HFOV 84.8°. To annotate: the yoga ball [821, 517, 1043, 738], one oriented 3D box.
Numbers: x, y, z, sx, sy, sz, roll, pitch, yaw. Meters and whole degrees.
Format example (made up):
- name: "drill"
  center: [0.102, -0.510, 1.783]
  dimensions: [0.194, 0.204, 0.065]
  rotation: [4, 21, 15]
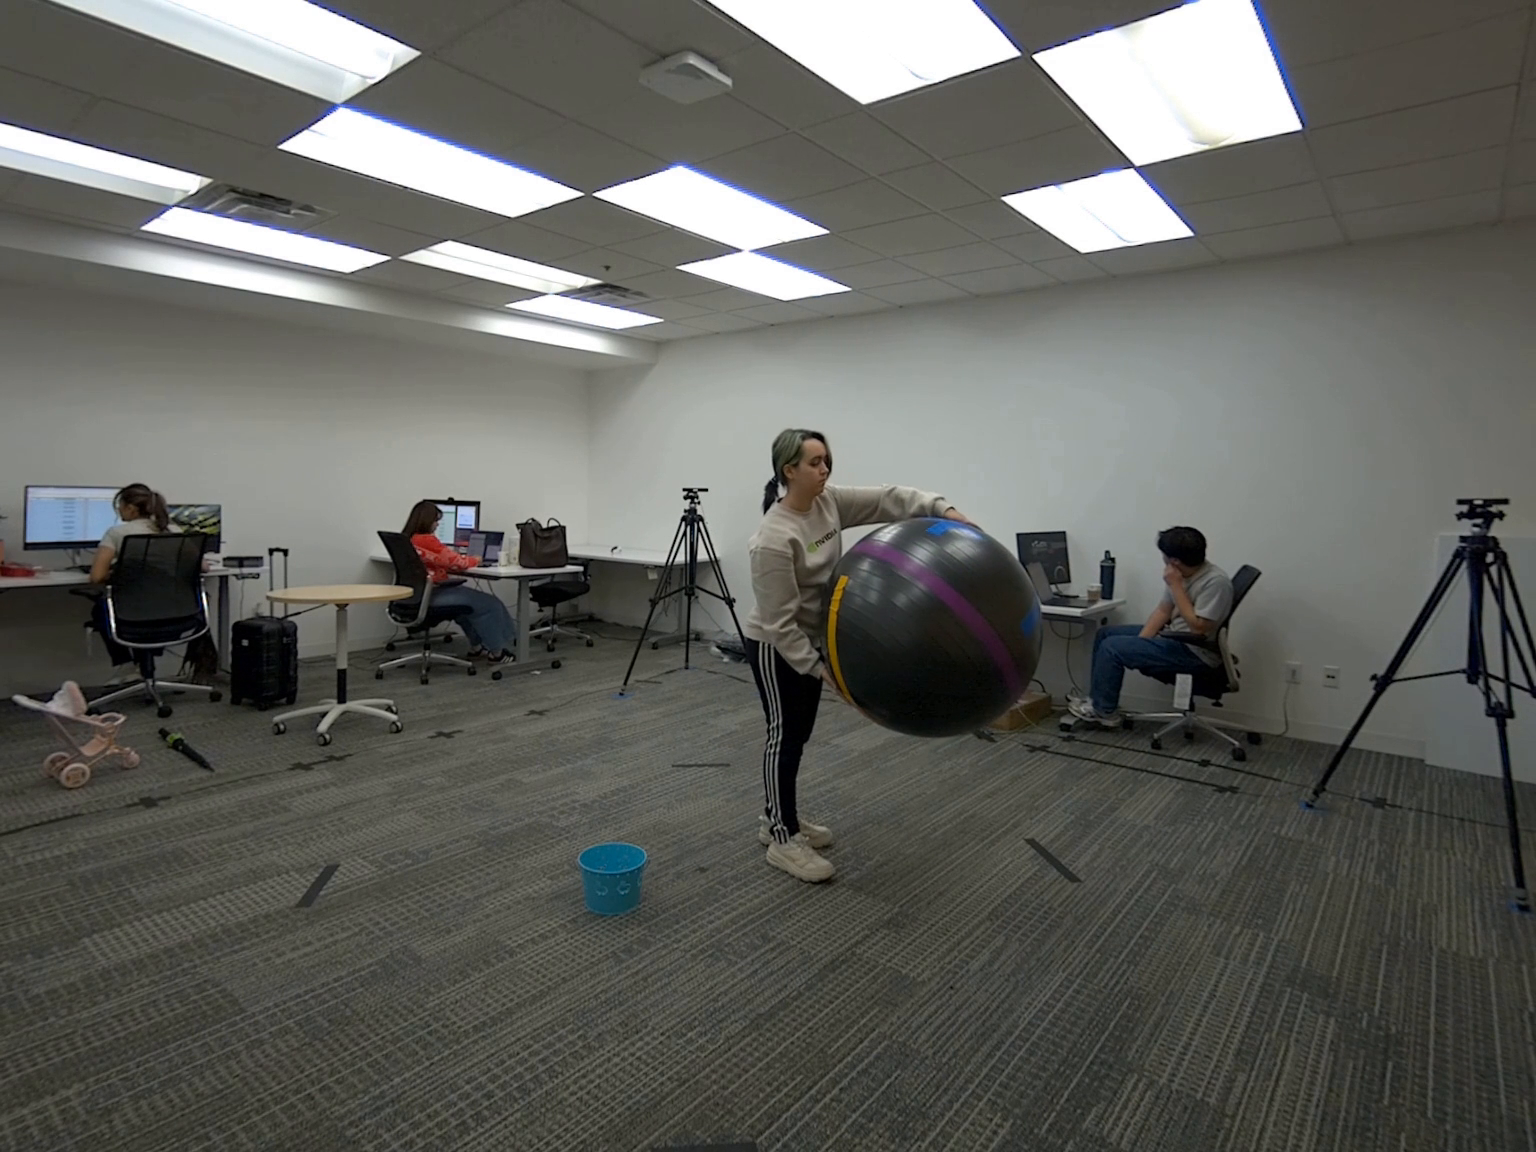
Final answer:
- name: "yoga ball"
  center: [0.554, 0.175, 2.960]
  dimensions: [0.757, 0.756, 0.761]
  rotation: [1, 4, -2]
